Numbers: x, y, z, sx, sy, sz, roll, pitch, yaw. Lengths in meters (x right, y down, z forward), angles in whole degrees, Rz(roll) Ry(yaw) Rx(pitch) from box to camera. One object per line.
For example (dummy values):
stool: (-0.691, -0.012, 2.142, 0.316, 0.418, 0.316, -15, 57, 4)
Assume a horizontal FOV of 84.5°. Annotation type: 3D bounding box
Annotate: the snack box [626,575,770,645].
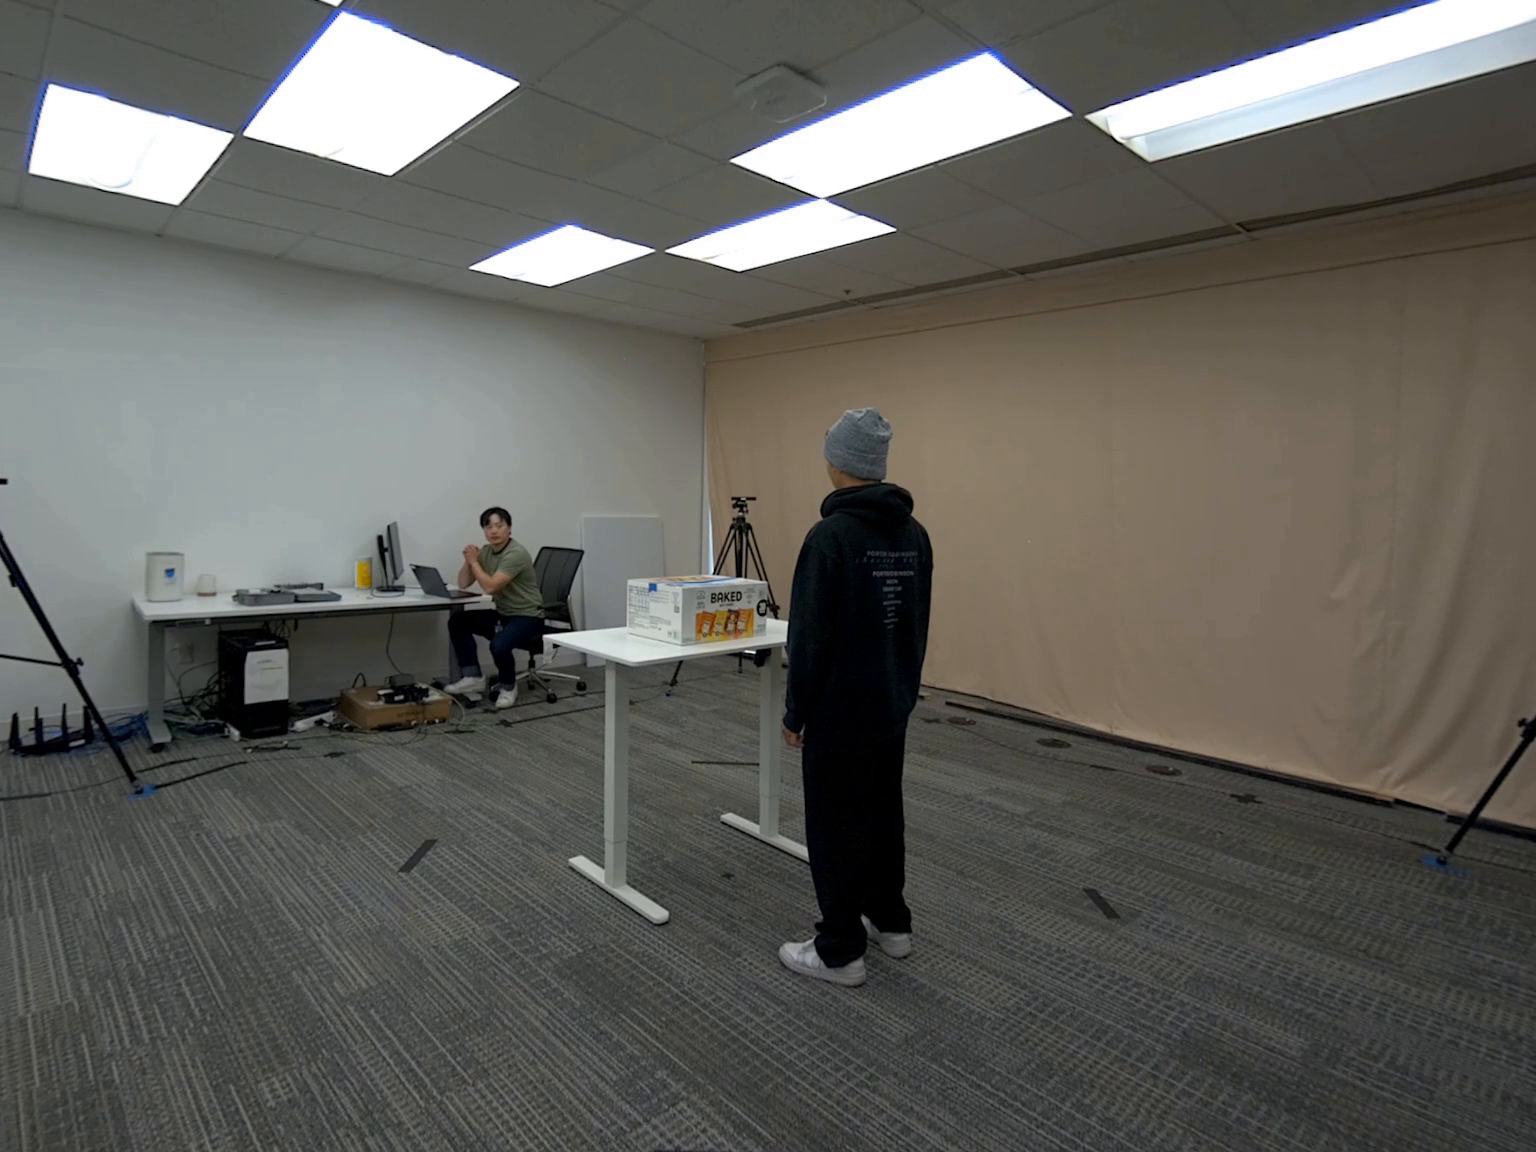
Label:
snack box: (-0.269, 0.119, 3.137, 0.396, 0.205, 0.349, -3, 6, -43)
